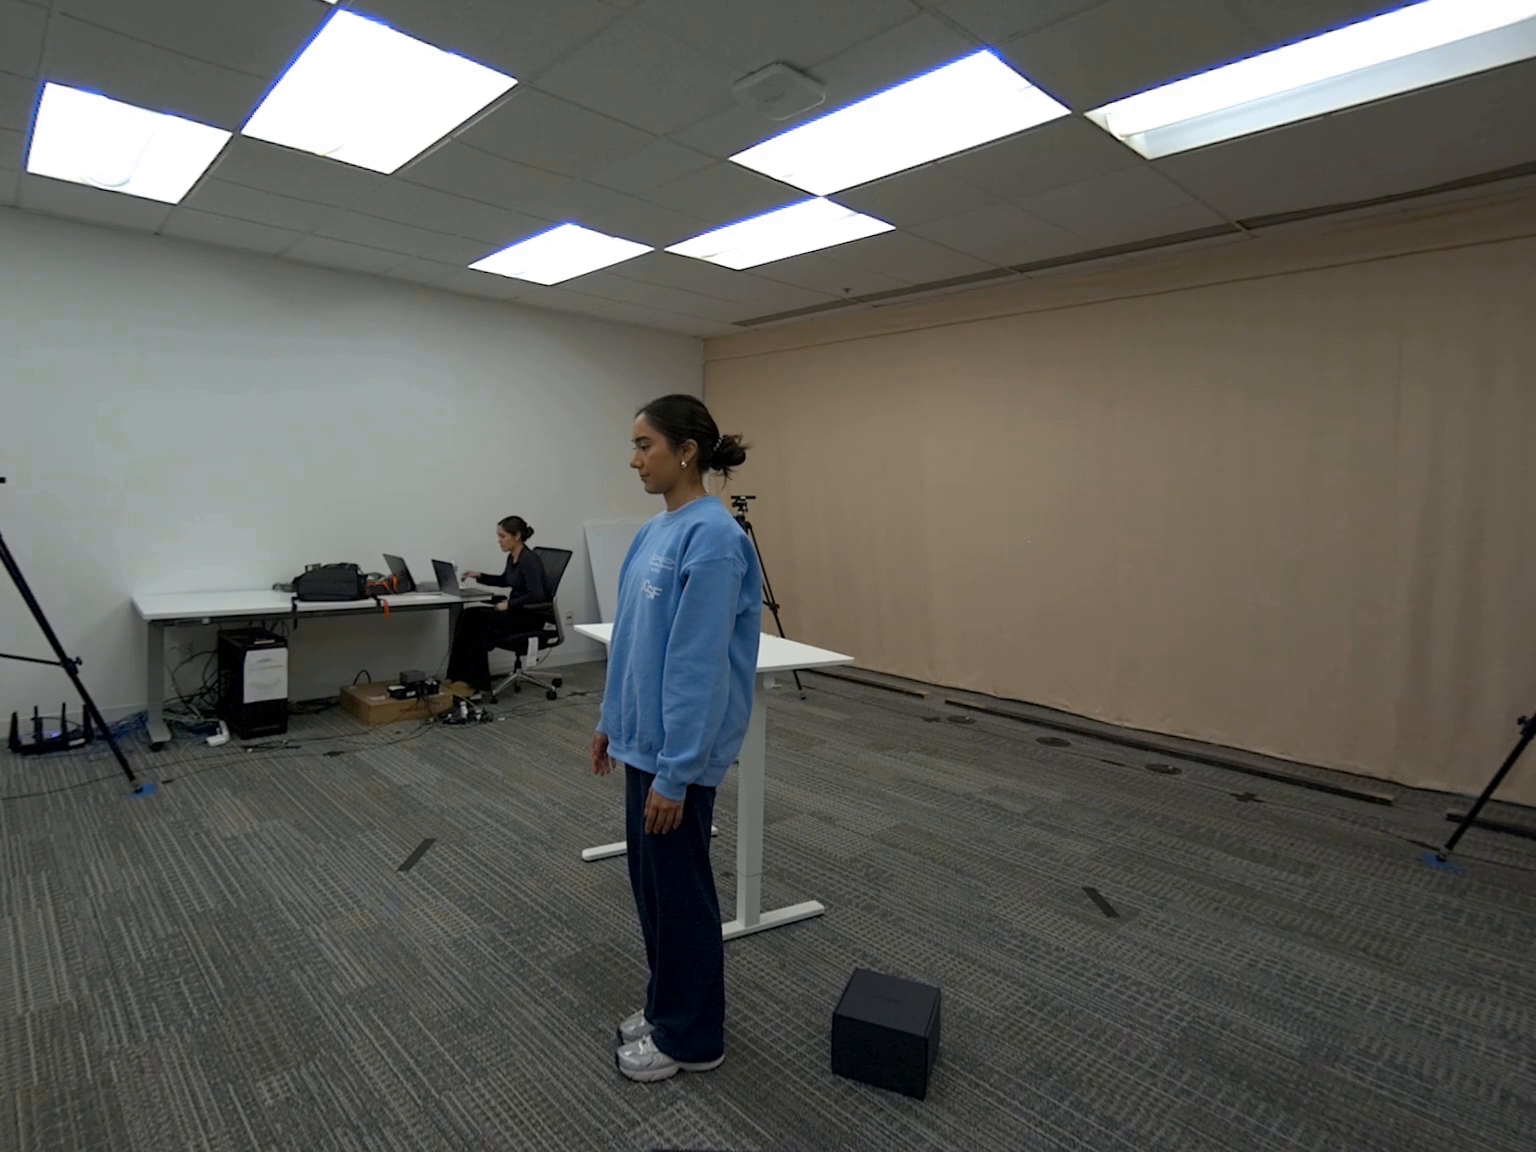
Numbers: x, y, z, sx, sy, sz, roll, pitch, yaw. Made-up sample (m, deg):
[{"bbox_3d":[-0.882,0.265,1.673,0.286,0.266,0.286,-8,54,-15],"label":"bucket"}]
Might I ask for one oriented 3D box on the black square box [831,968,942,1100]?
[{"bbox_3d":[0.295,1.126,2.090,0.232,0.155,0.214,3,5,21],"label":"black square box"}]
